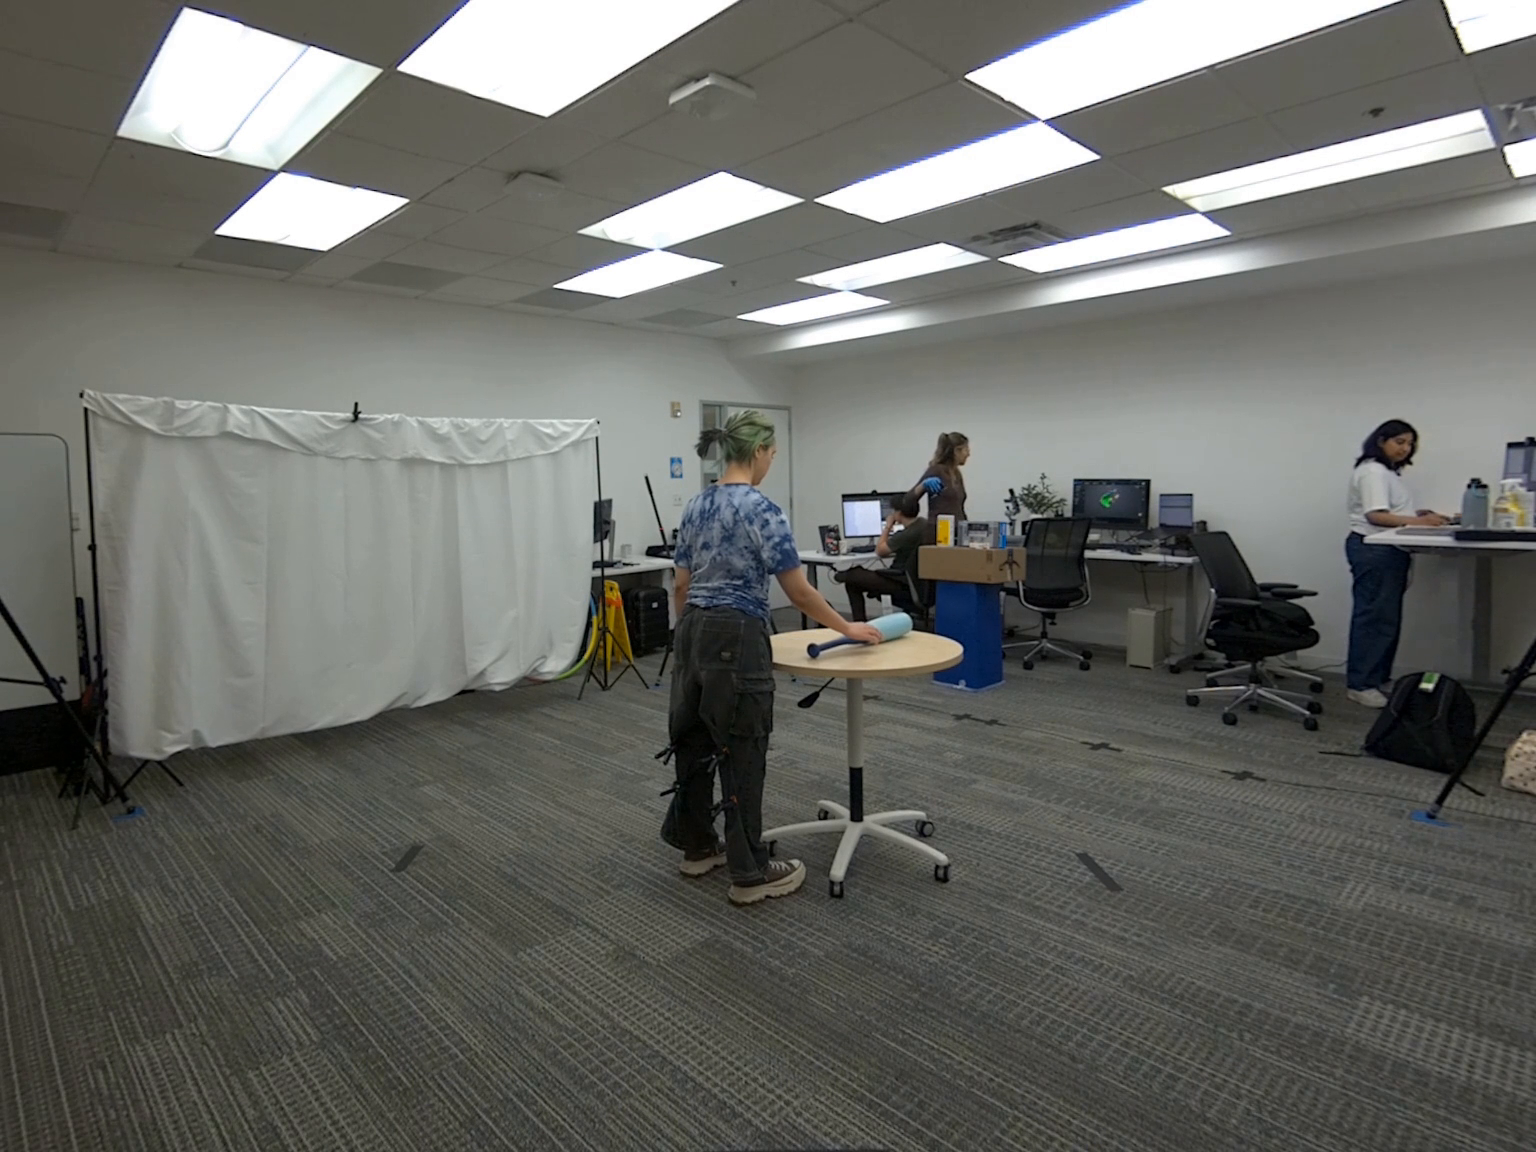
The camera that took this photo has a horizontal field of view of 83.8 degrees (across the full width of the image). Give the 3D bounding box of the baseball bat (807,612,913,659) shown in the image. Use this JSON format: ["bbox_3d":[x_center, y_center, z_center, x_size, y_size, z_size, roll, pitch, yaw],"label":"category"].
[{"bbox_3d":[0.341,0.222,3.089,0.530,0.088,0.092,-12,11,-43],"label":"baseball bat"}]
